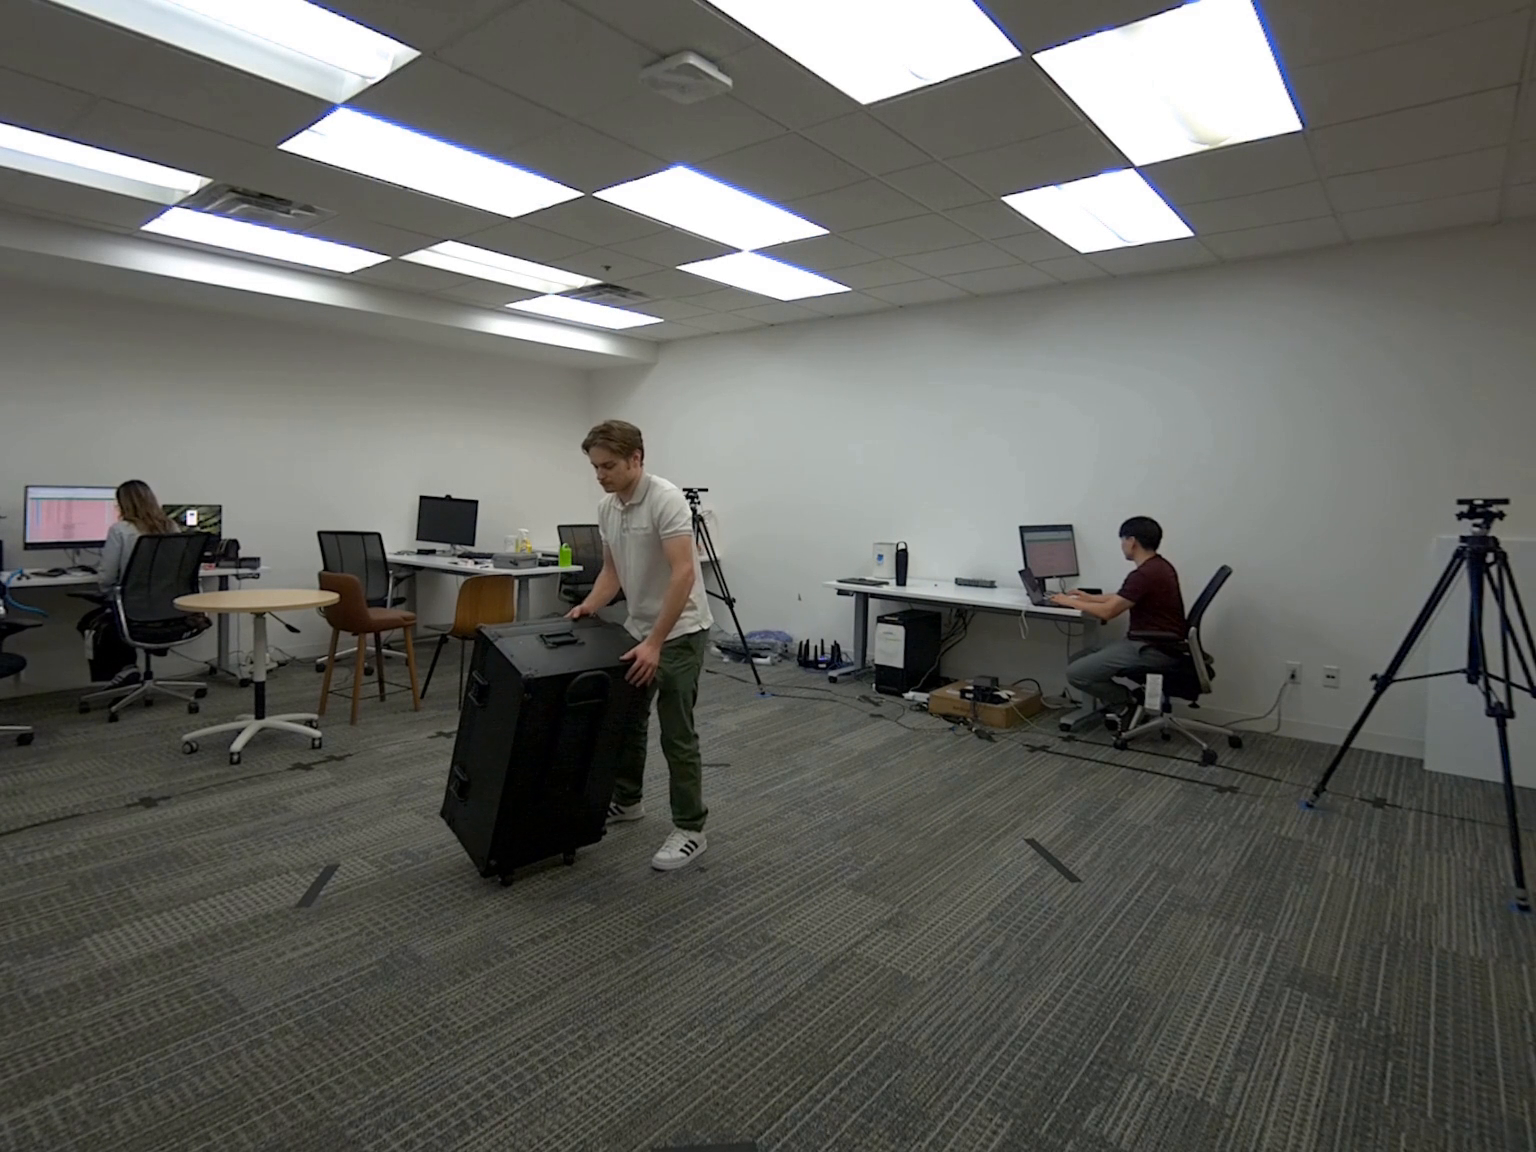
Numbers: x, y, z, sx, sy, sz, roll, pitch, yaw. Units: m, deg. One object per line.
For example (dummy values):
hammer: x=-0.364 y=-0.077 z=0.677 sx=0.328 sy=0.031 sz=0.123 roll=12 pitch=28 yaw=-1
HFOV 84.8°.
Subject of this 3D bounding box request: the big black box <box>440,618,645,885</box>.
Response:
big black box: x=-0.820 y=0.615 z=3.036 sx=0.507 sy=0.859 sz=0.401 roll=-2 pitch=26 yaw=-45
